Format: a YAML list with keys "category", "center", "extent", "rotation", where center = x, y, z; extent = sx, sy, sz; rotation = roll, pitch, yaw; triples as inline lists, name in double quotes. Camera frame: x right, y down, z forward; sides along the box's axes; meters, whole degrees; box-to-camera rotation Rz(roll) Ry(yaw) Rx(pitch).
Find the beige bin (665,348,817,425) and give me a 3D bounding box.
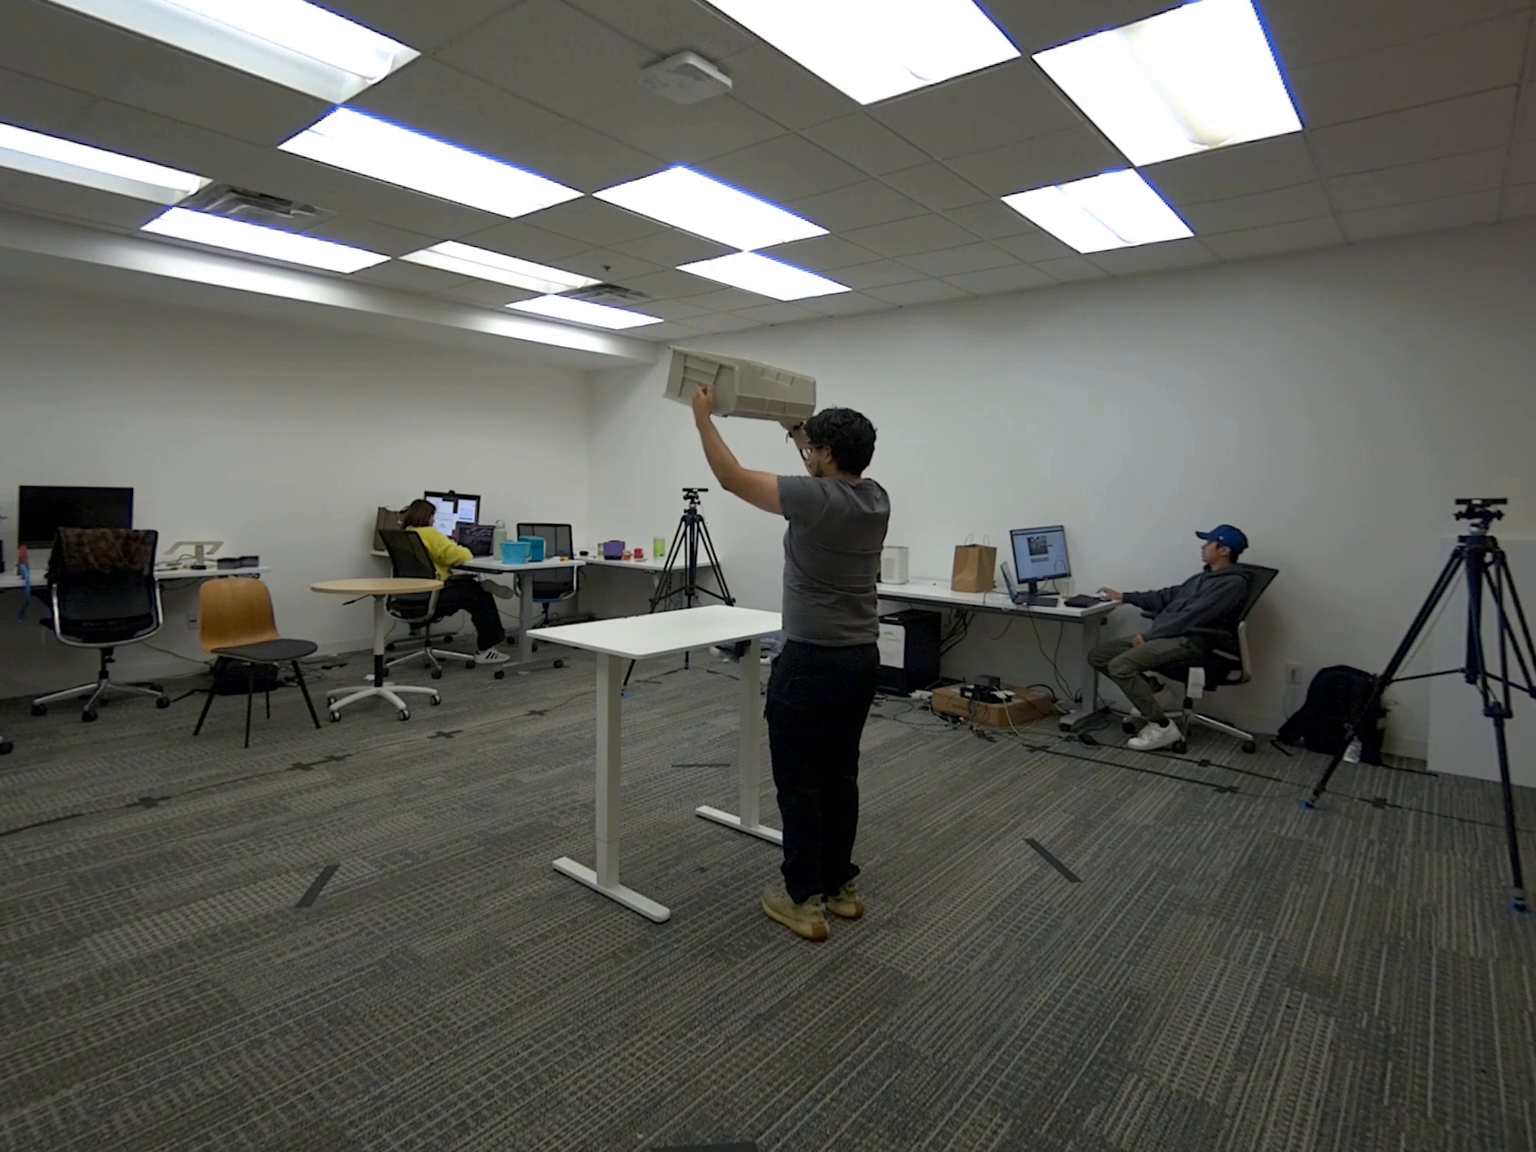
- category: "beige bin"
  center: [-0.107, -0.660, 3.032]
  extent: [0.393, 0.187, 0.410]
  rotation: [26, 21, 39]
